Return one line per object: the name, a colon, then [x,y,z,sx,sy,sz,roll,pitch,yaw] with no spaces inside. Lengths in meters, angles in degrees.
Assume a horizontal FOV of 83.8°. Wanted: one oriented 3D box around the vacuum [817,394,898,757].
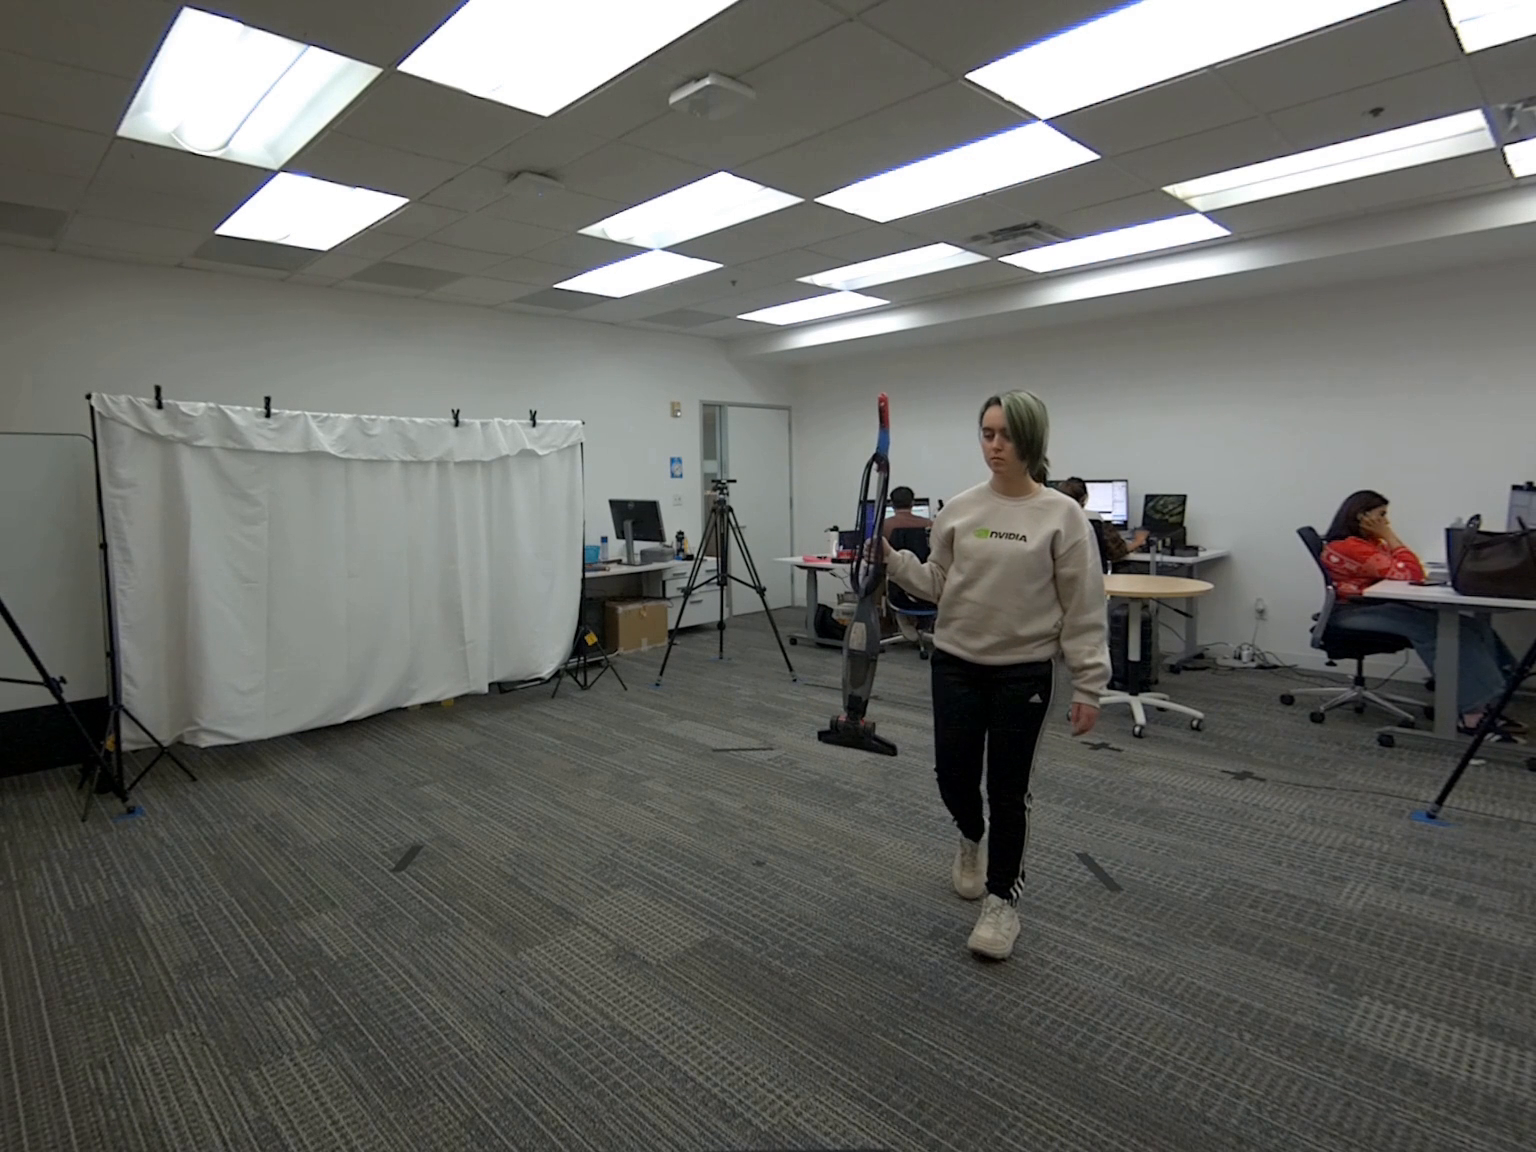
vacuum: [0.313,-0.021,2.650,0.257,1.049,0.141,5,0,19]
